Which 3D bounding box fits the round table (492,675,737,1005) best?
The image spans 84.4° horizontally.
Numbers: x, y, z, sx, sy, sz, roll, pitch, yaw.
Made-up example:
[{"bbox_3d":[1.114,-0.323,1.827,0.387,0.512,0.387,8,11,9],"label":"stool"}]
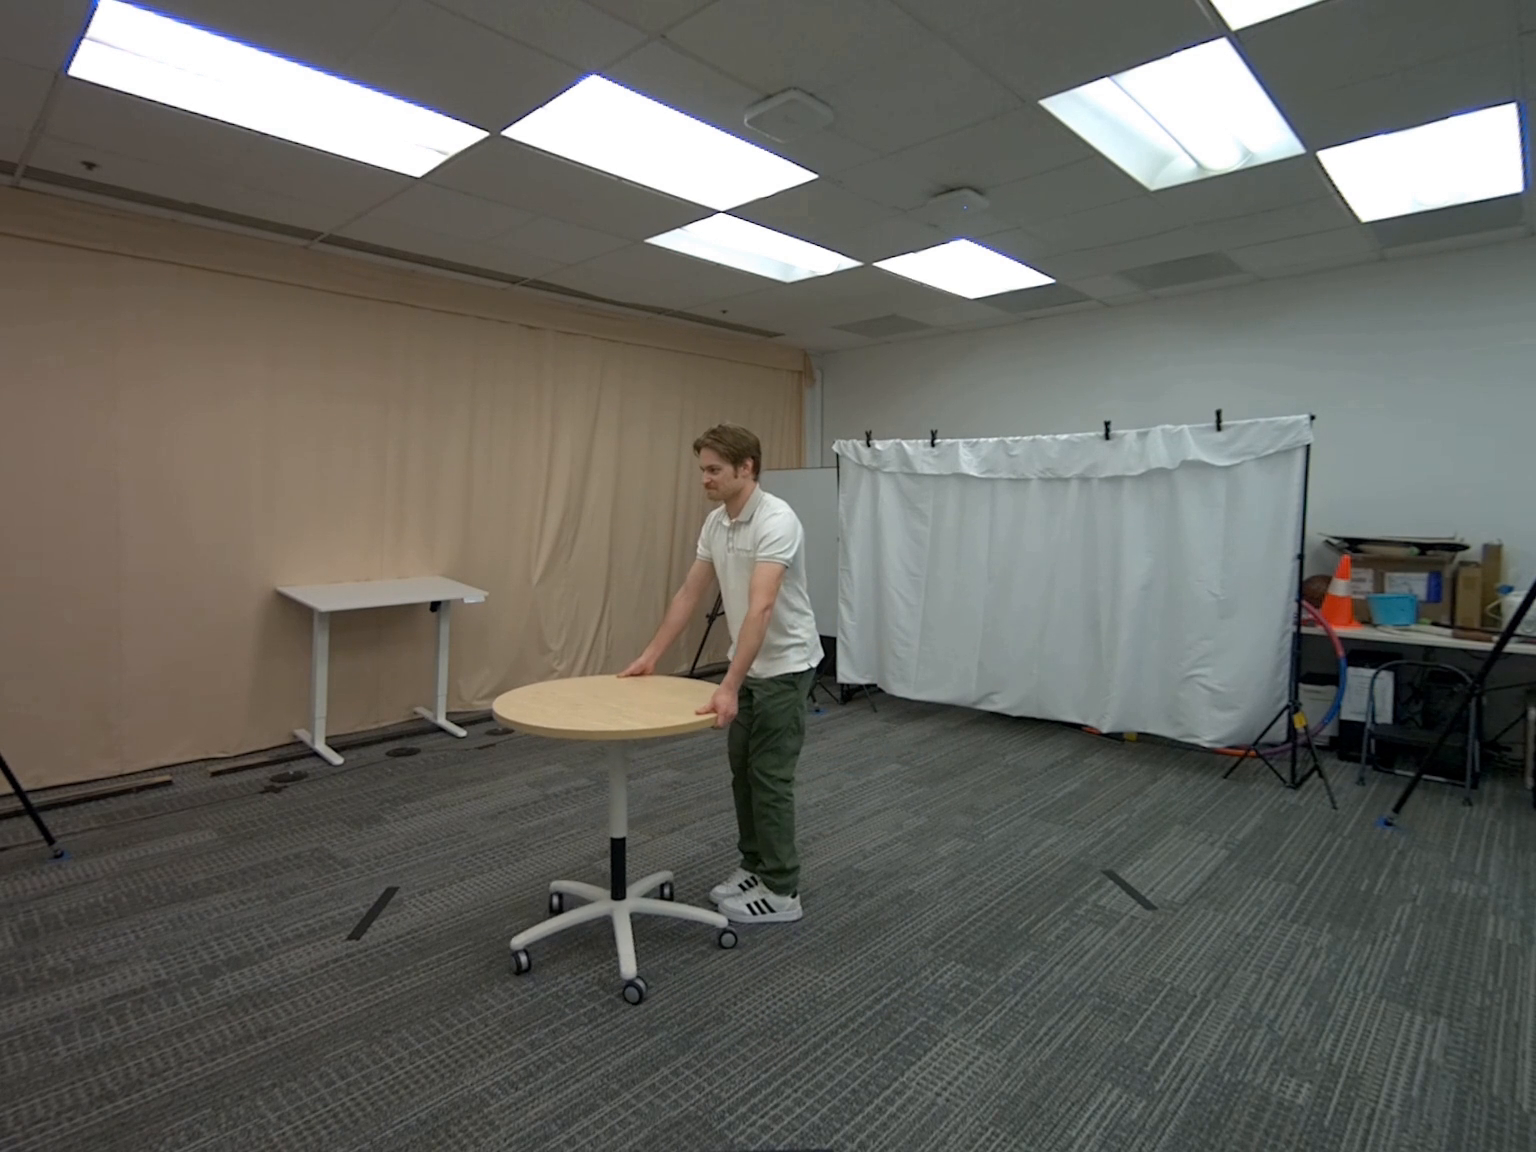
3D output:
[{"bbox_3d":[-0.476,0.783,2.681,0.763,0.792,0.766,0,4,-2],"label":"round table"}]
